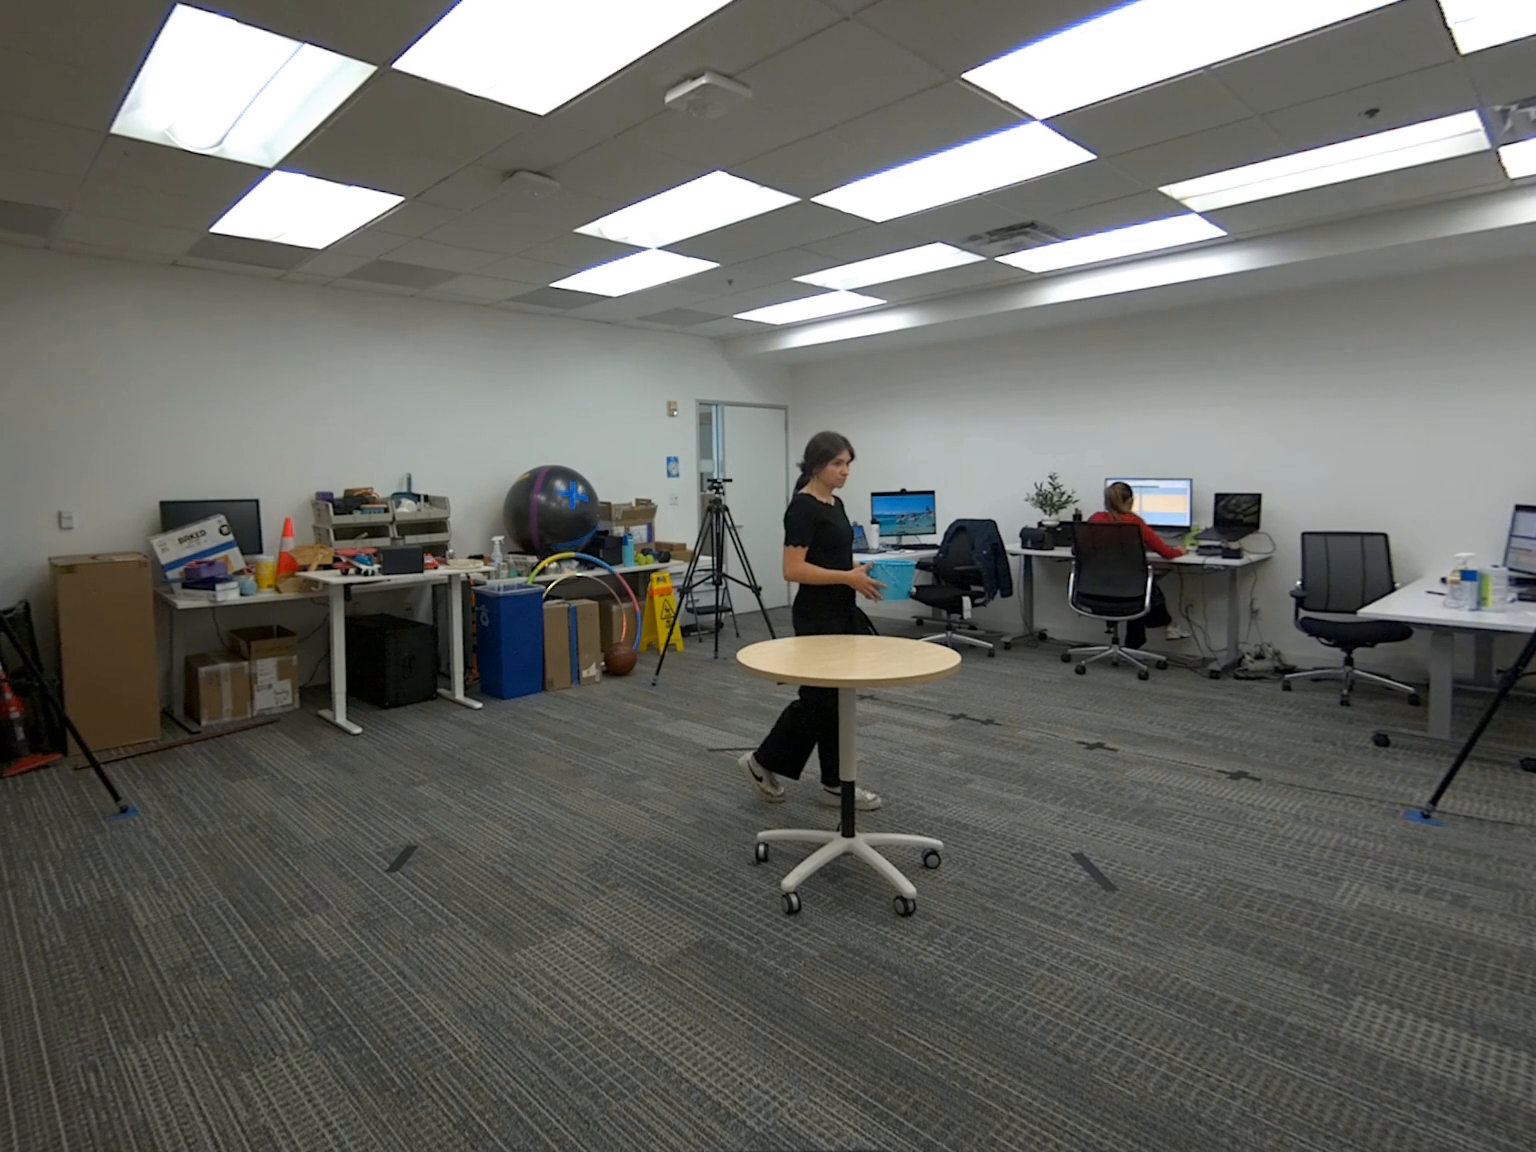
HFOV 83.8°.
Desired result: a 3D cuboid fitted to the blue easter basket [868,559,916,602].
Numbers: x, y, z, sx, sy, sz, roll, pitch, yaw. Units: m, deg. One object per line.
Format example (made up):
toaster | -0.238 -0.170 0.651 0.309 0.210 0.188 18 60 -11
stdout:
blue easter basket | 0.478 0.021 3.515 0.243 0.155 0.245 -1 5 -2
